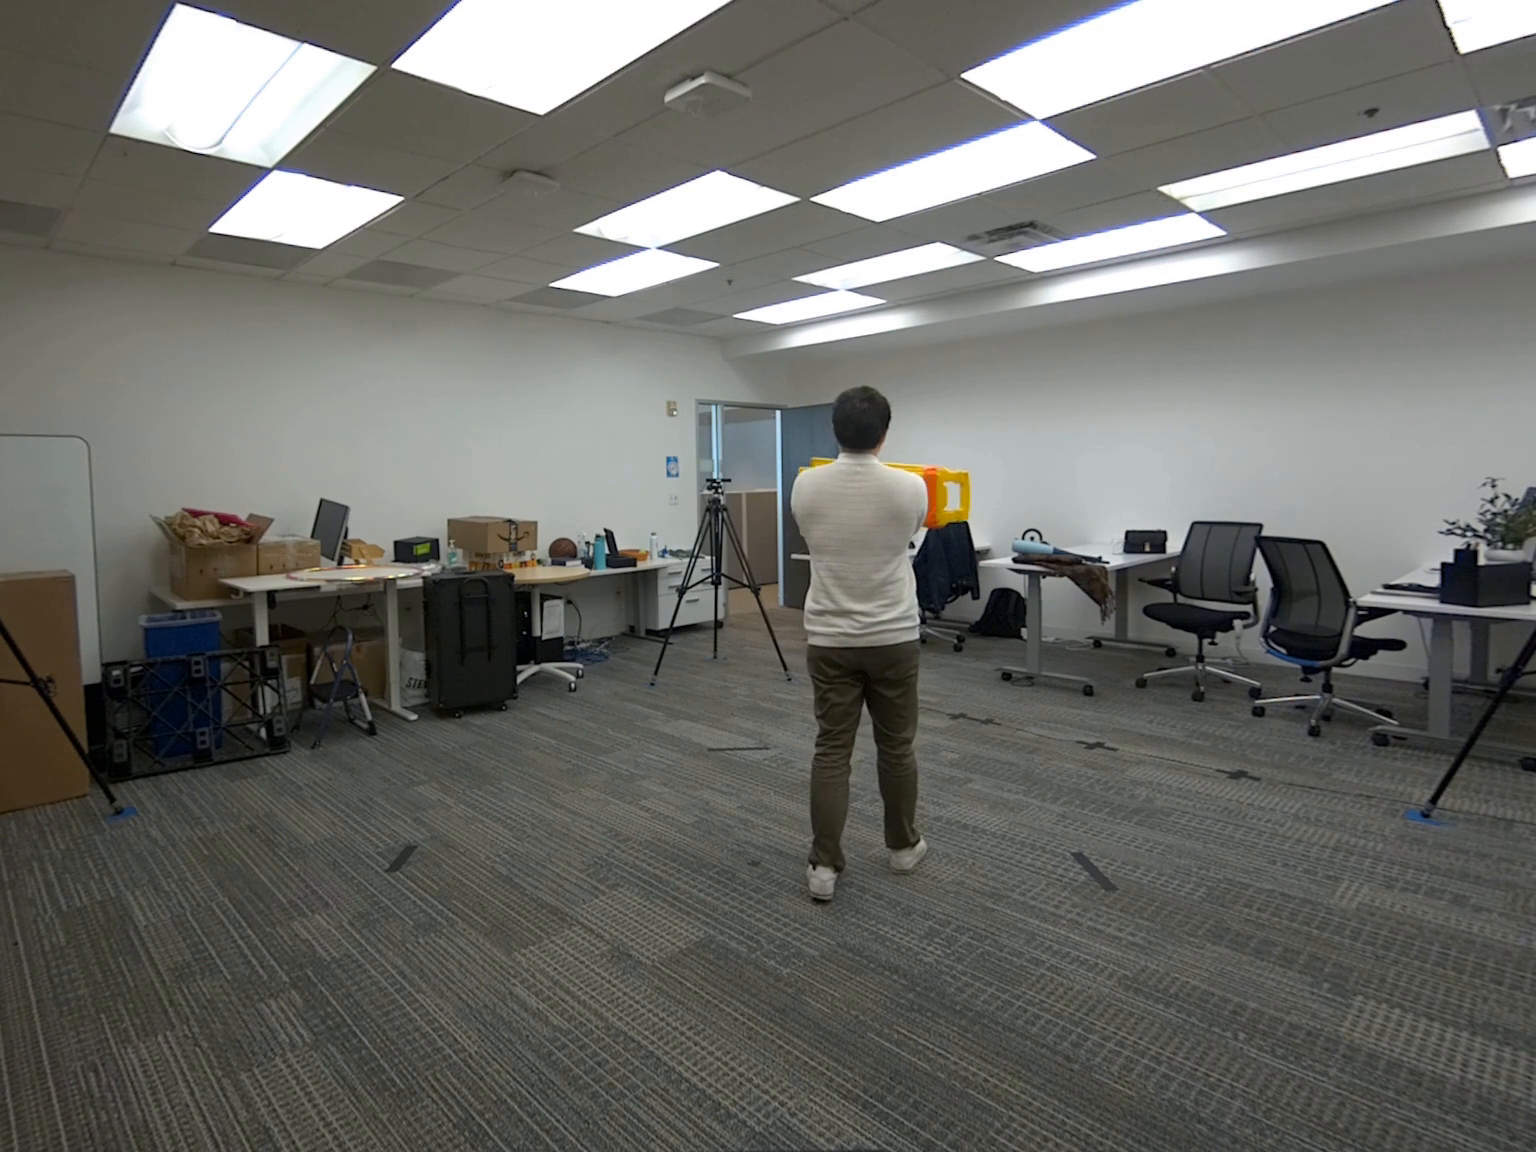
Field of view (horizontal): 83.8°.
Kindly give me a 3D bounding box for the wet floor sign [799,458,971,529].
[{"bbox_3d":[0.478,-0.316,3.419,0.656,0.278,0.289,1,16,15],"label":"wet floor sign"}]
